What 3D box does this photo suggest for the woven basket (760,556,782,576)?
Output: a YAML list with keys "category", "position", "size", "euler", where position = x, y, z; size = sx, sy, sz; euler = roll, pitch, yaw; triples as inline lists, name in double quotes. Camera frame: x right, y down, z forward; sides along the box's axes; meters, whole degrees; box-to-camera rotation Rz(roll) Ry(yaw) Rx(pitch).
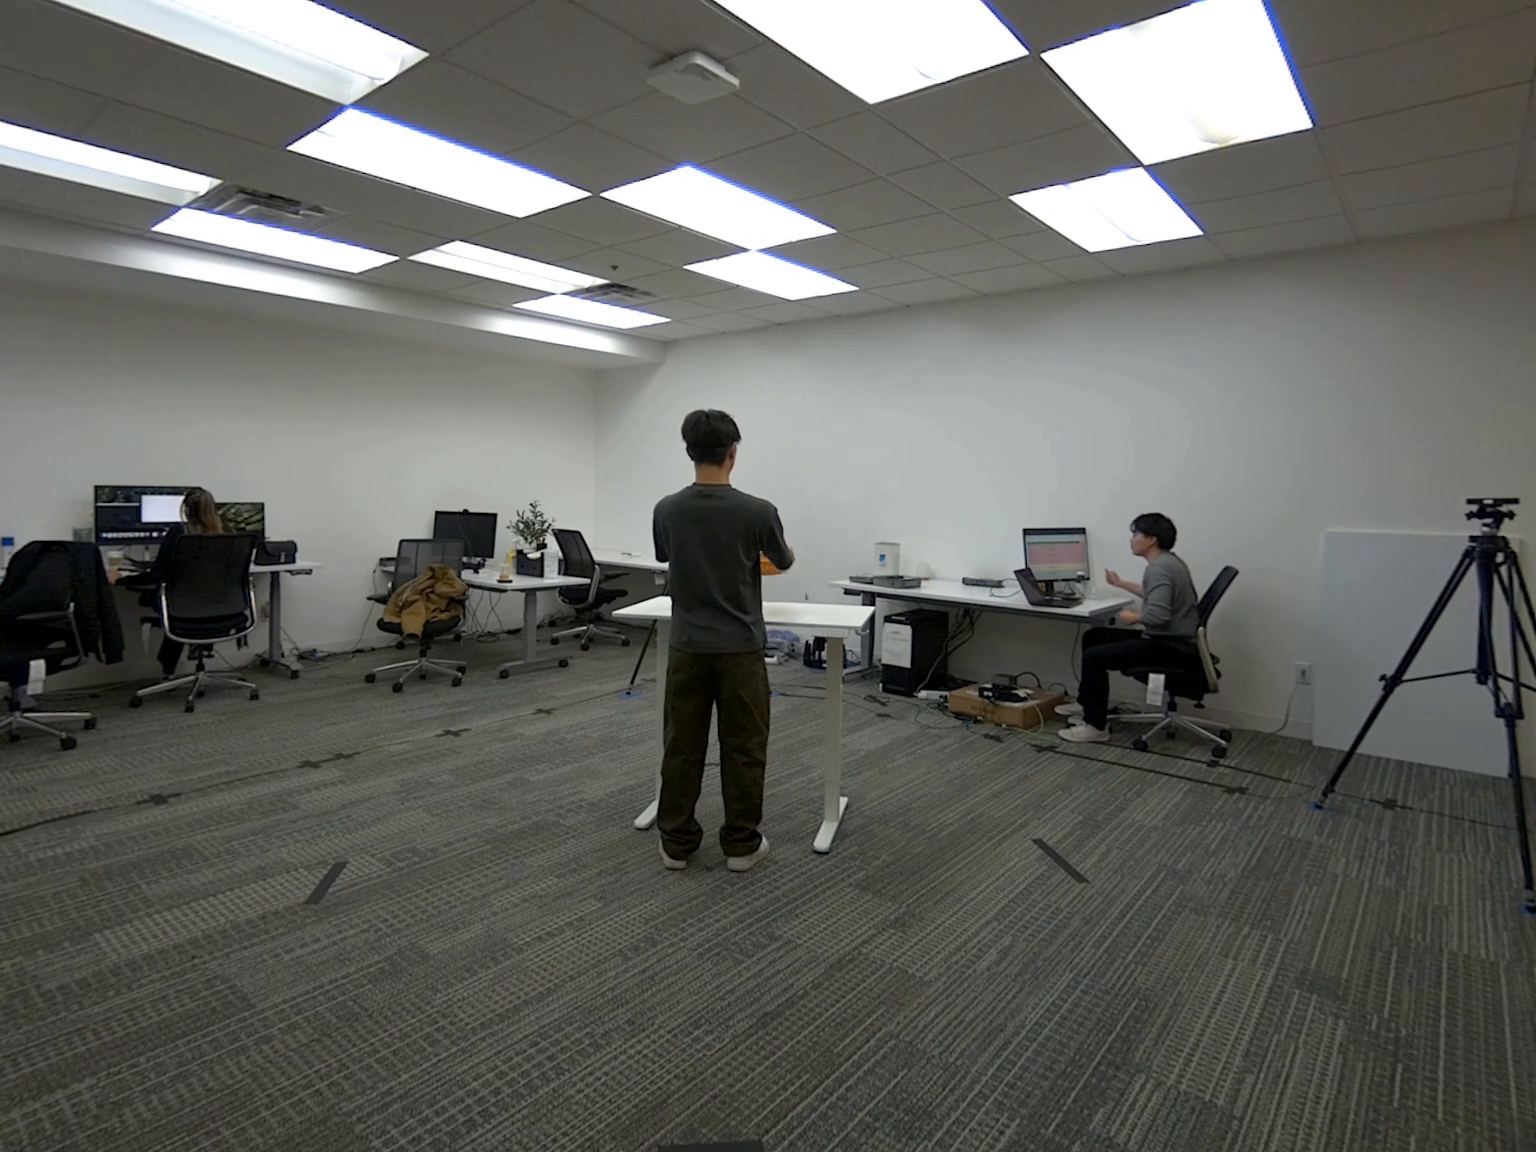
- category: "woven basket"
  position: [-0.076, -0.055, 3.624]
  size: [0.359, 0.073, 0.247]
  euler: [3, 8, 25]
